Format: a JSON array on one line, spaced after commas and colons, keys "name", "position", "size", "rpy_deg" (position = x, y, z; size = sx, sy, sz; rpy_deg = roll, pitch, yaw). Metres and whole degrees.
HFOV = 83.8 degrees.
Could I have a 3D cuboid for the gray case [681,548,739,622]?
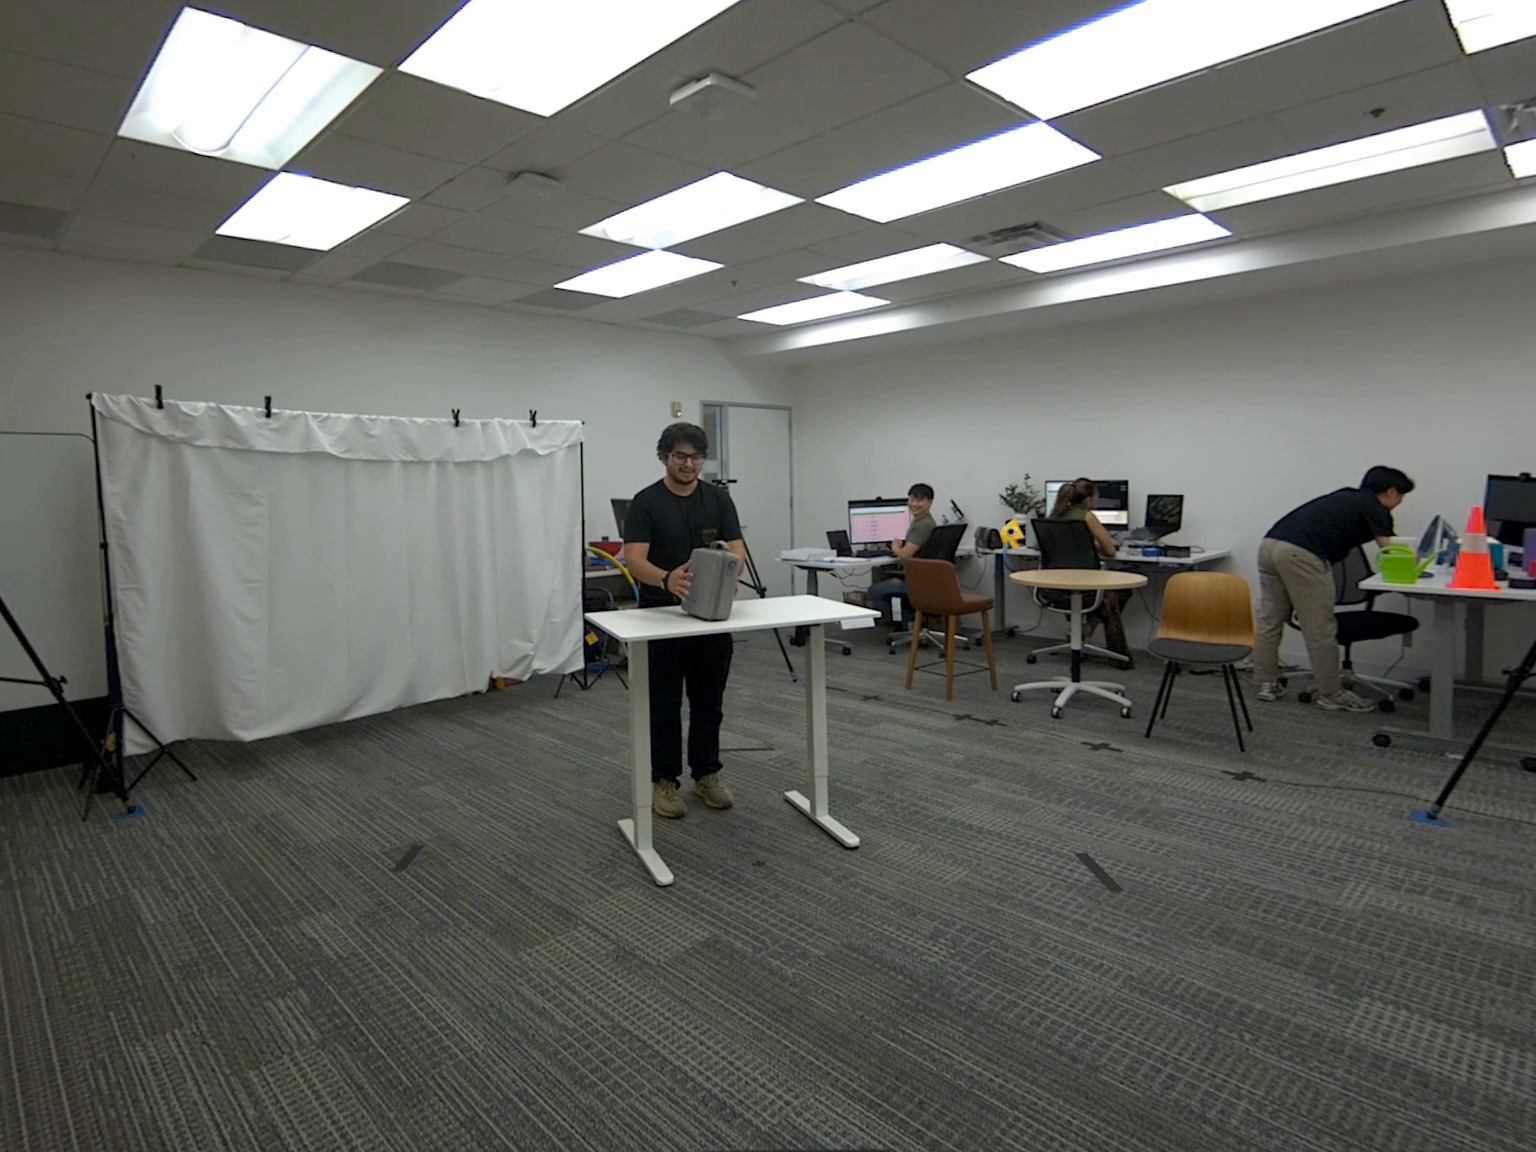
[{"name": "gray case", "position": [-0.217, 0.026, 3.216], "size": [0.102, 0.261, 0.263], "rpy_deg": [10, 0, -24]}]
